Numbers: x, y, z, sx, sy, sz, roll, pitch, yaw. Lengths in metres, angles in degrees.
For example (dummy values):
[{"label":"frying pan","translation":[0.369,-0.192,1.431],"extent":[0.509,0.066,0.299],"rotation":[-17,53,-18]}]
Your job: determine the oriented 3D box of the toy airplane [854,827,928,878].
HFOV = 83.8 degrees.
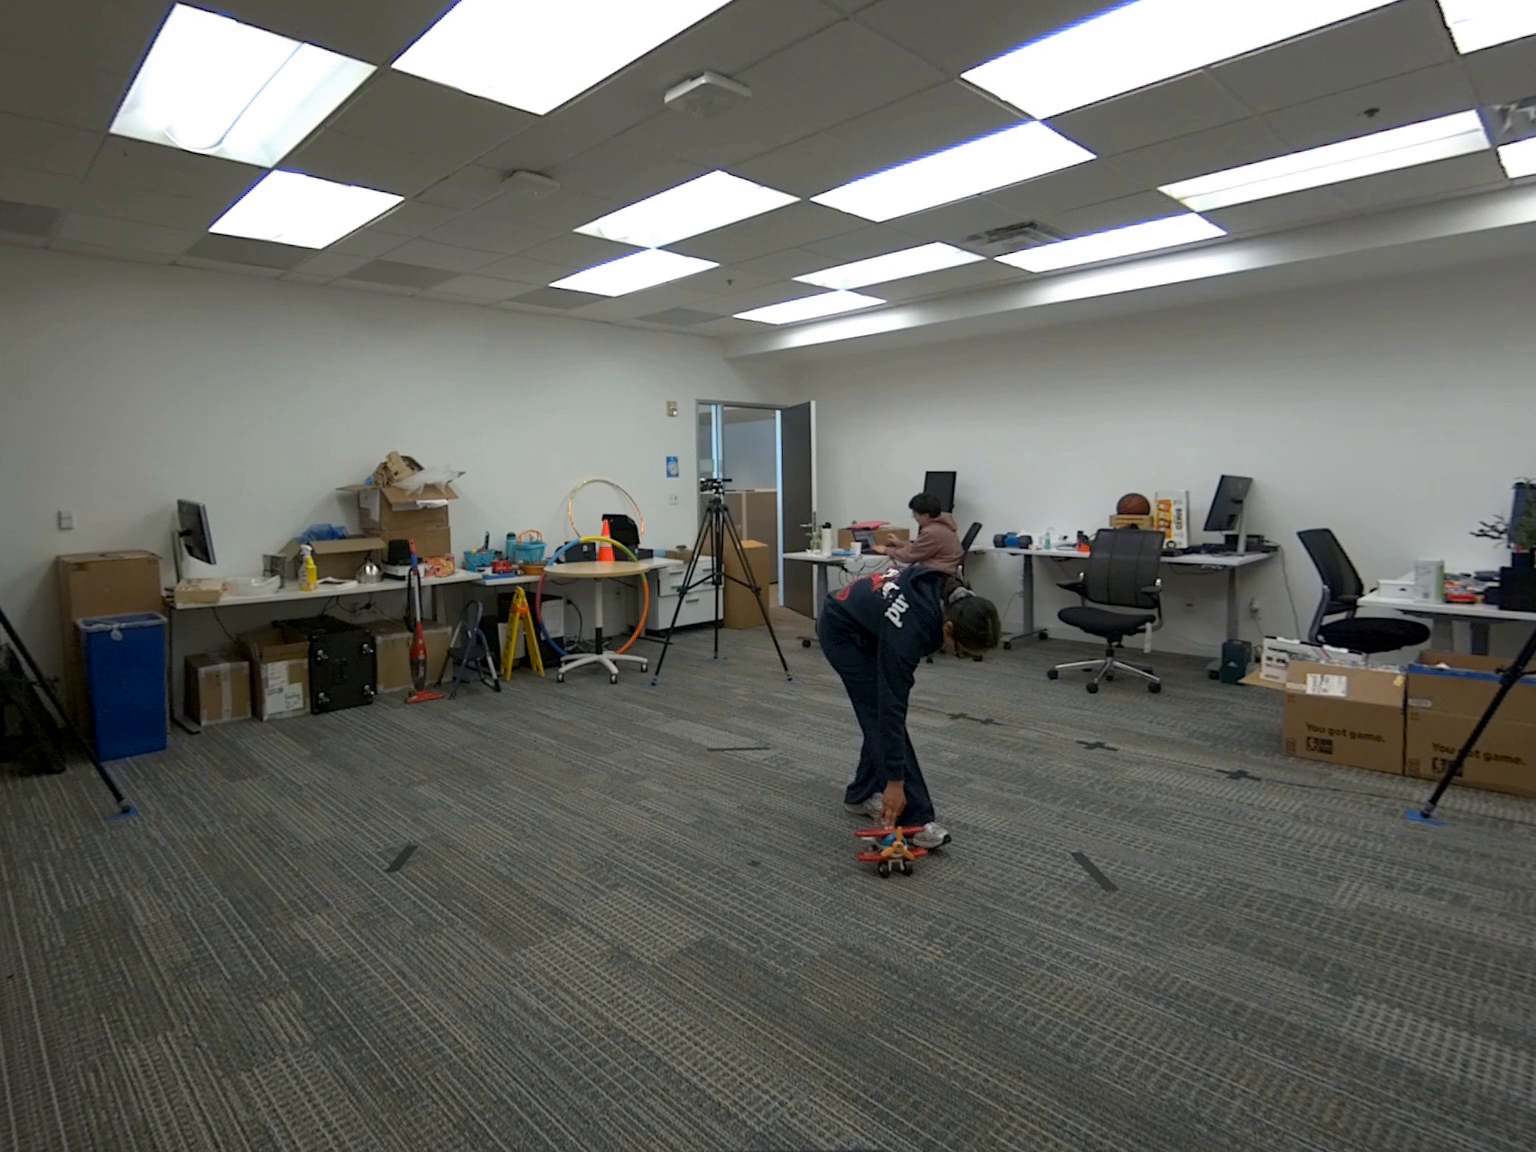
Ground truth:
[{"label":"toy airplane","translation":[0.413,0.967,3.063],"extent":[0.245,0.156,0.267],"rotation":[-5,7,-36]}]
